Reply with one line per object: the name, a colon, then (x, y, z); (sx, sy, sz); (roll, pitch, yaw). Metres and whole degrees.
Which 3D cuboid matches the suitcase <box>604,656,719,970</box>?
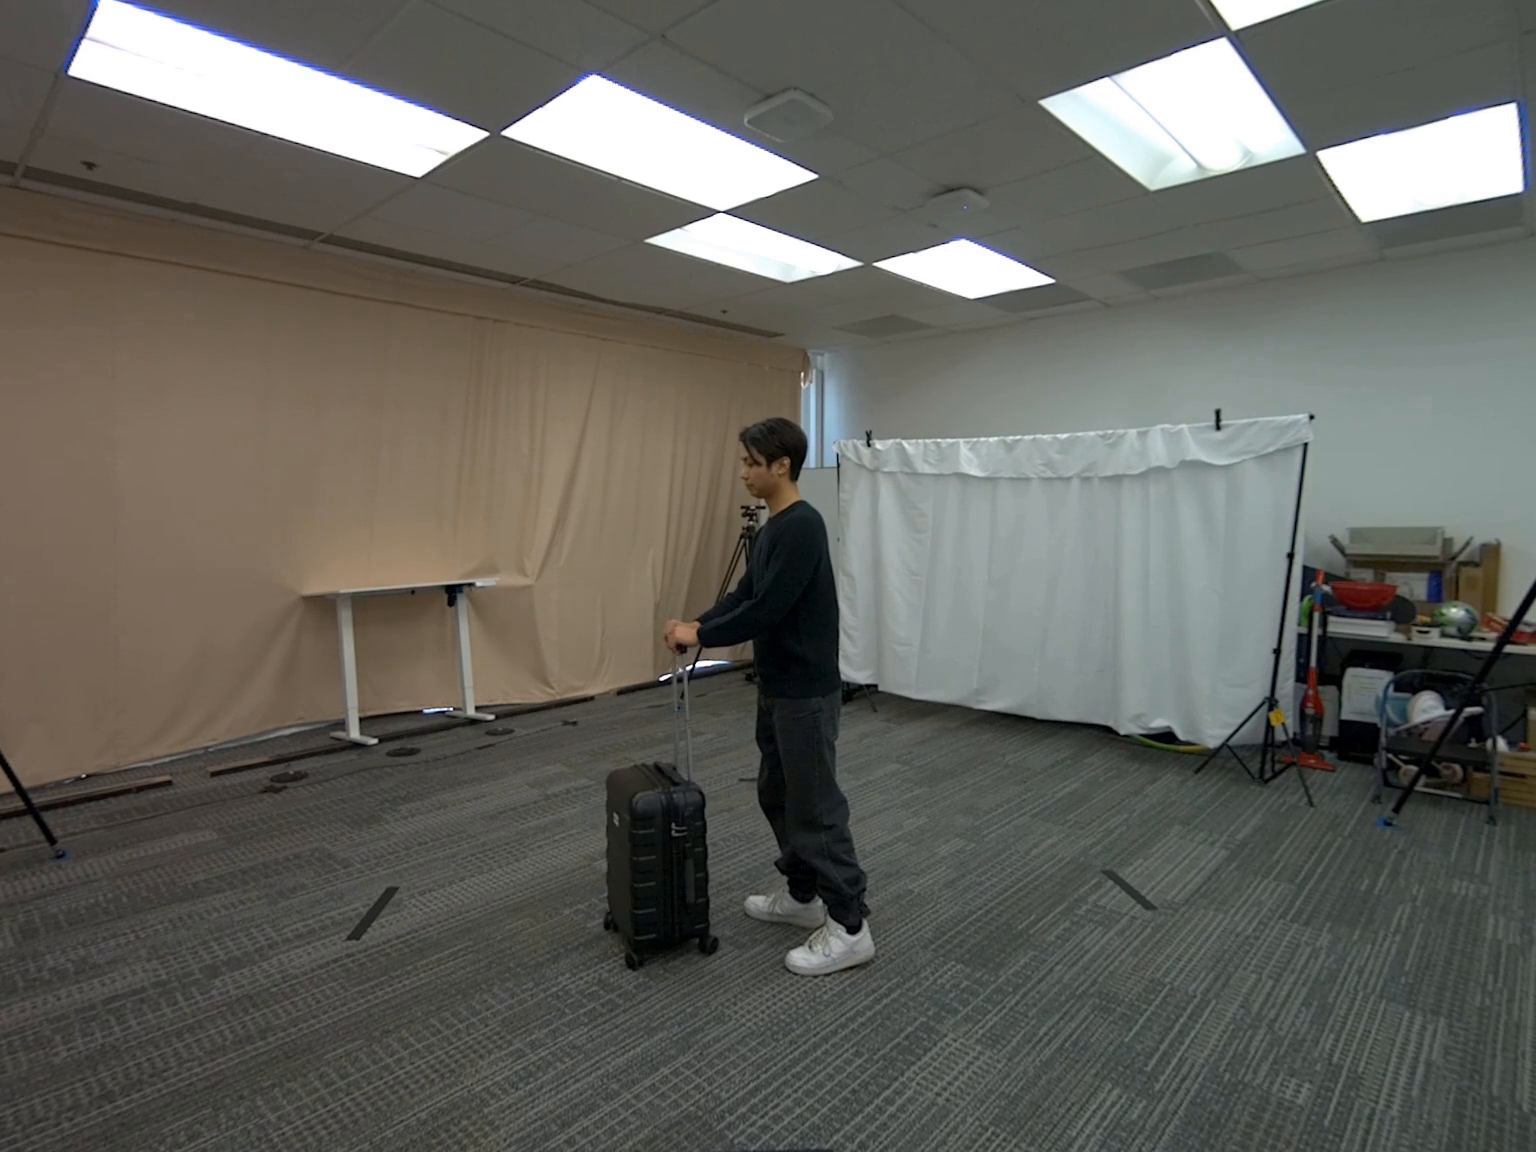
suitcase: (-0.367, 0.700, 2.675); (0.252, 0.976, 0.393); (-4, 4, -23)
